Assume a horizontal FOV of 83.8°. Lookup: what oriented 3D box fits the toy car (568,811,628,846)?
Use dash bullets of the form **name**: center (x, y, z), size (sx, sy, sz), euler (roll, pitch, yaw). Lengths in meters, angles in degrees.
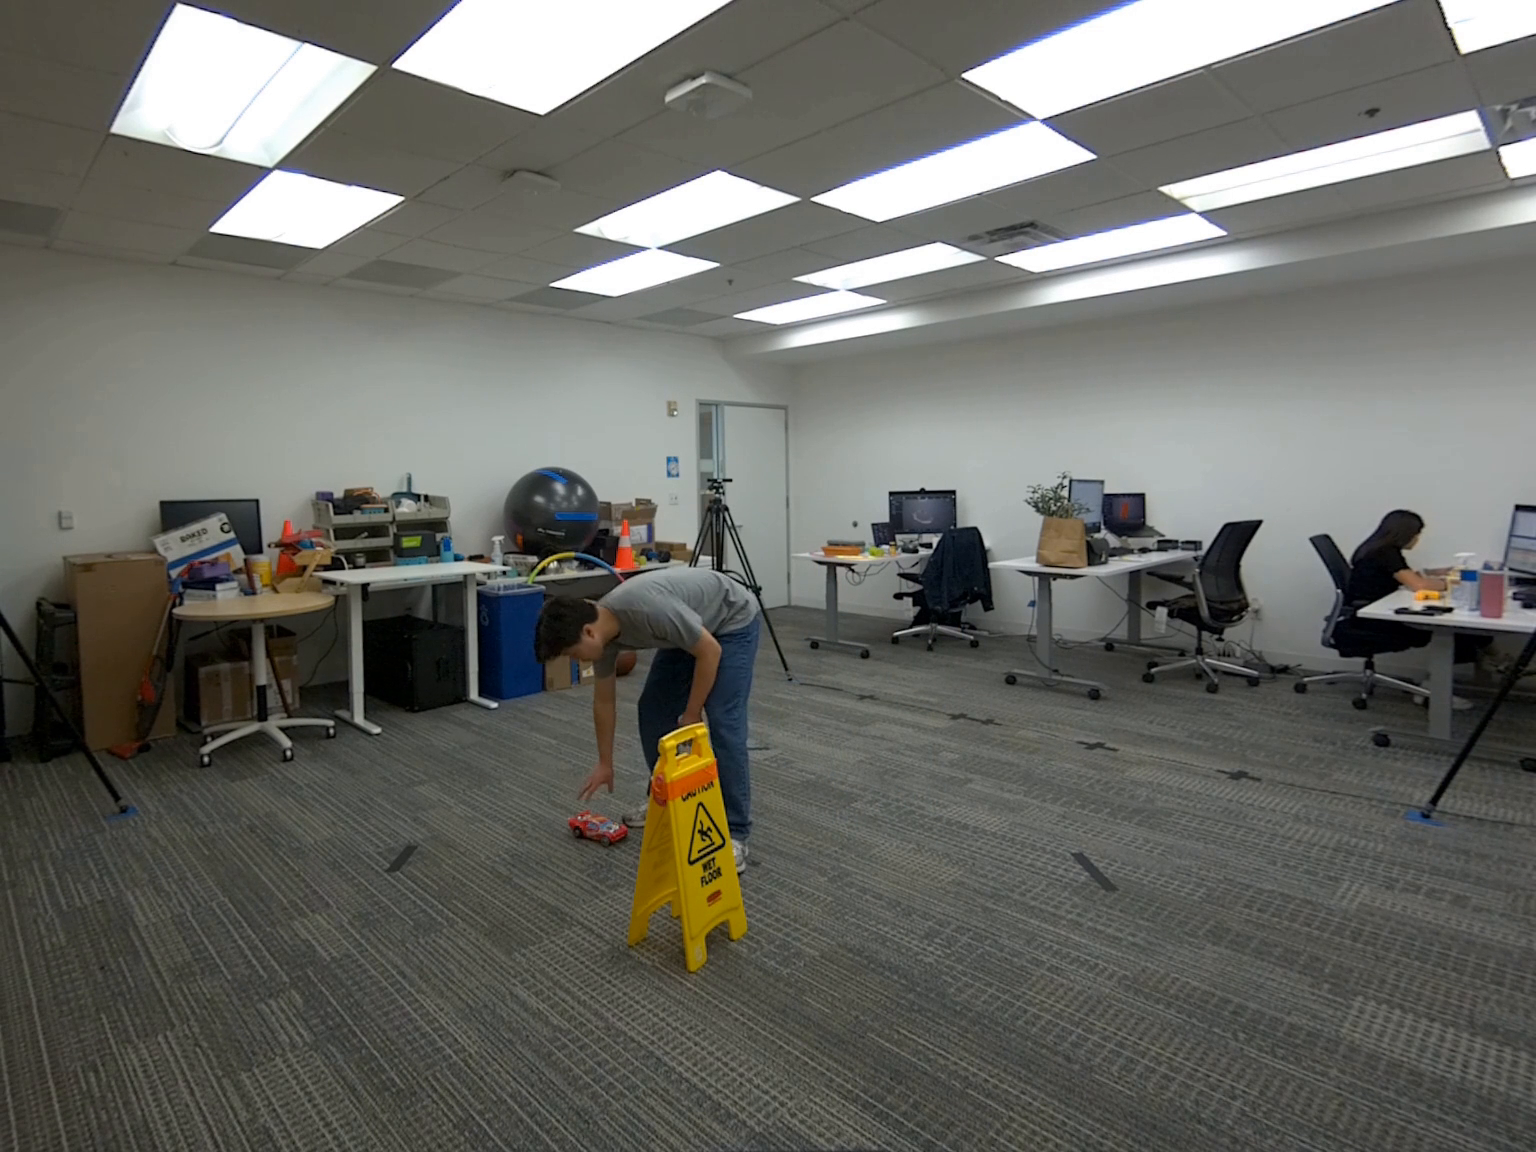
- **toy car**: center (-0.677, 0.997, 3.369), size (0.263, 0.082, 0.127), euler (15, 15, 31)
